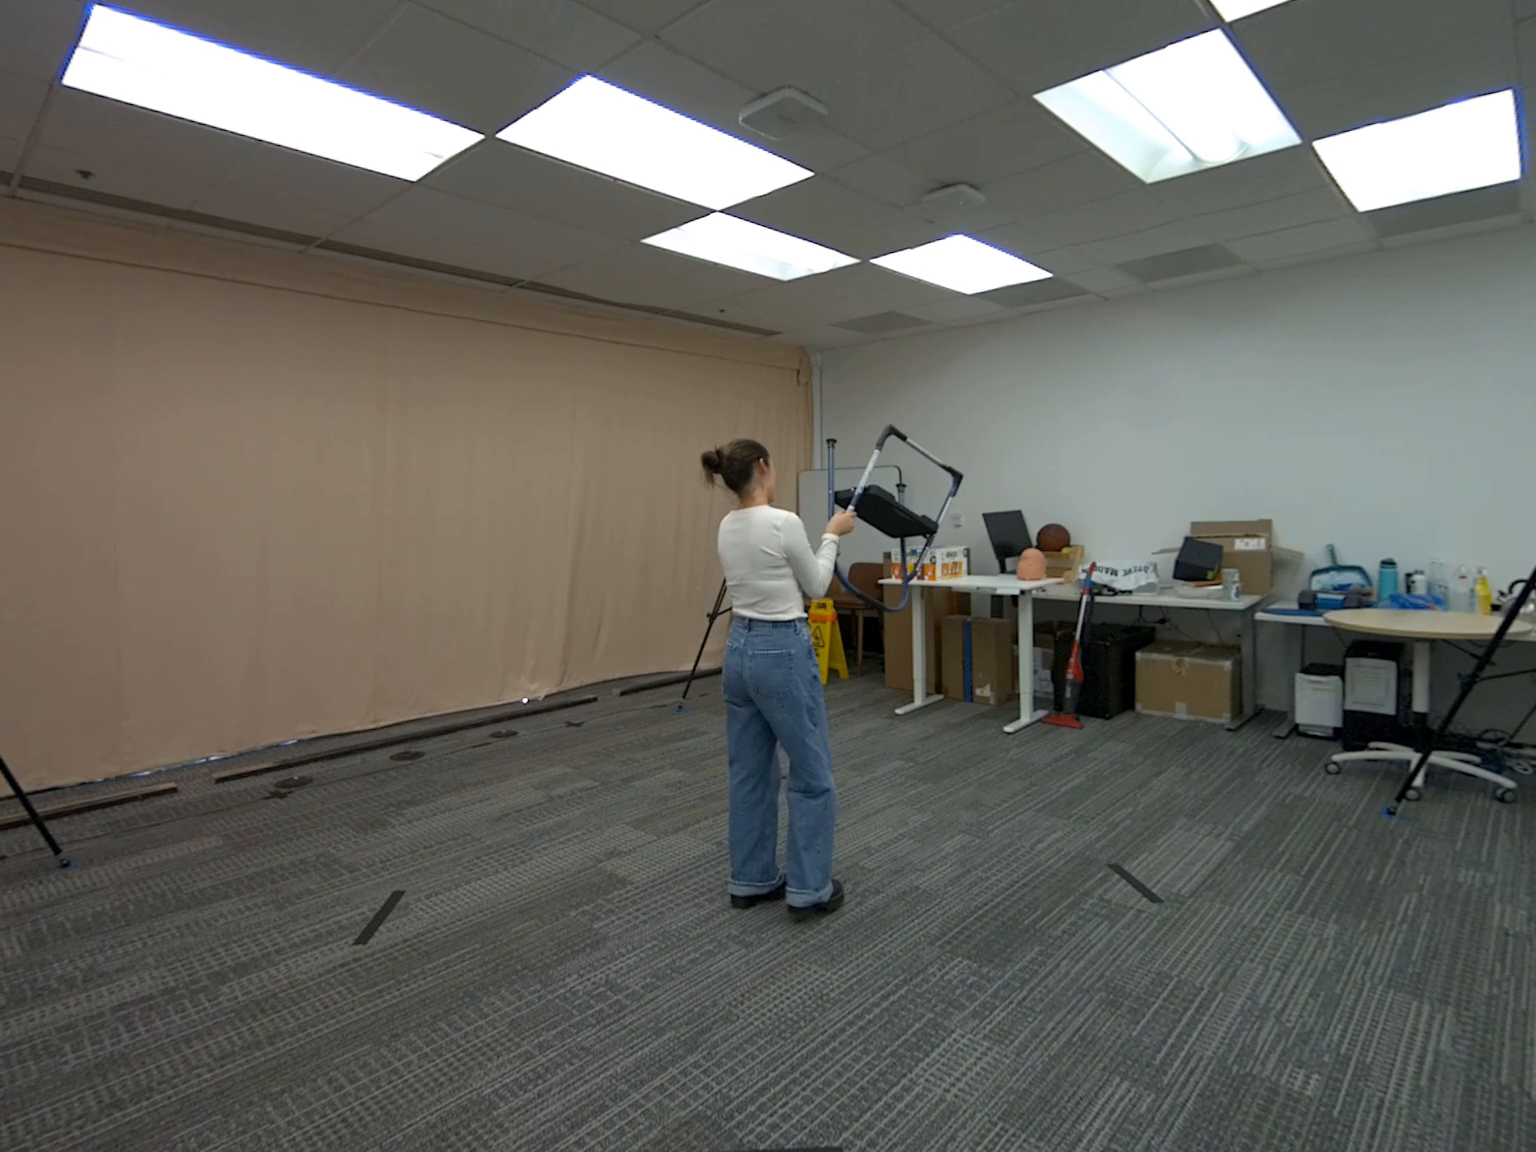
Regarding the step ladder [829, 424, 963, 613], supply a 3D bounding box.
[{"bbox_3d":[0.411,-0.175,3.140,0.417,0.609,0.359,26,-19,-30],"label":"step ladder"}]
